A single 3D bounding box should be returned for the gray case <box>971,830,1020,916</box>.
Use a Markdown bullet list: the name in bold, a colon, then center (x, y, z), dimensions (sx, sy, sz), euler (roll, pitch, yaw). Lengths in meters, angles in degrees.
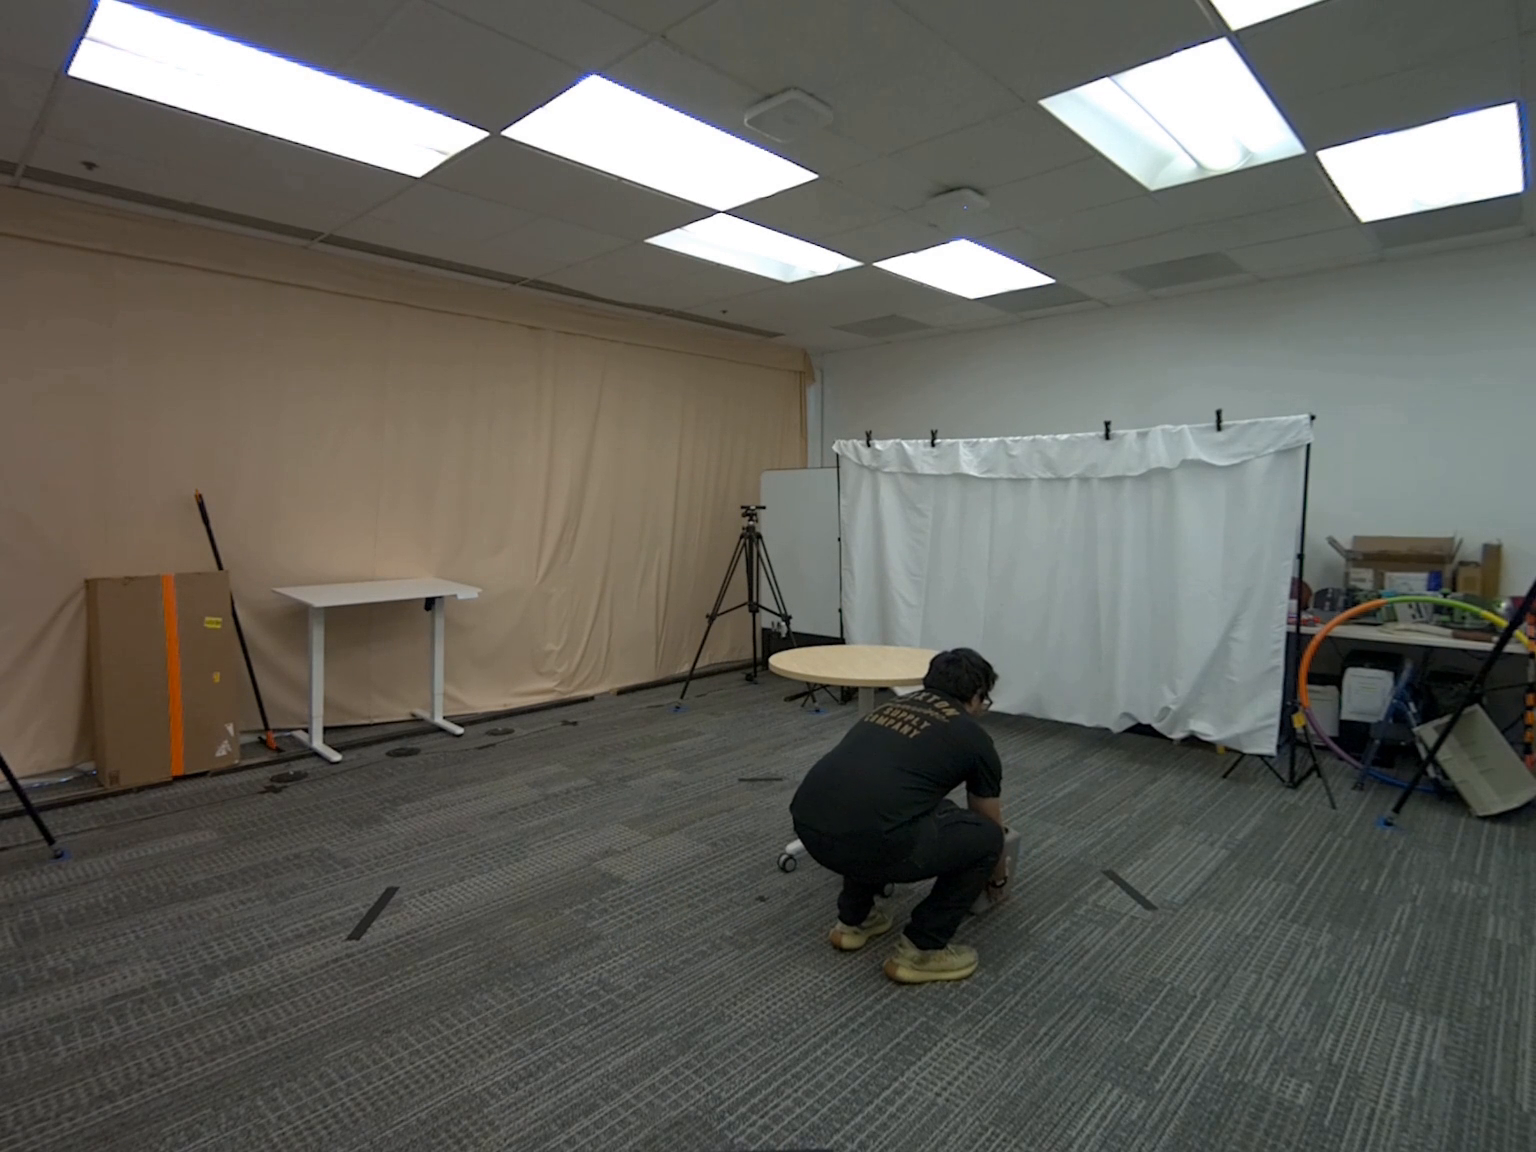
- **gray case**: center (0.780, 1.012, 2.938), dimensions (0.249, 0.259, 0.108), euler (-1, 12, -44)
